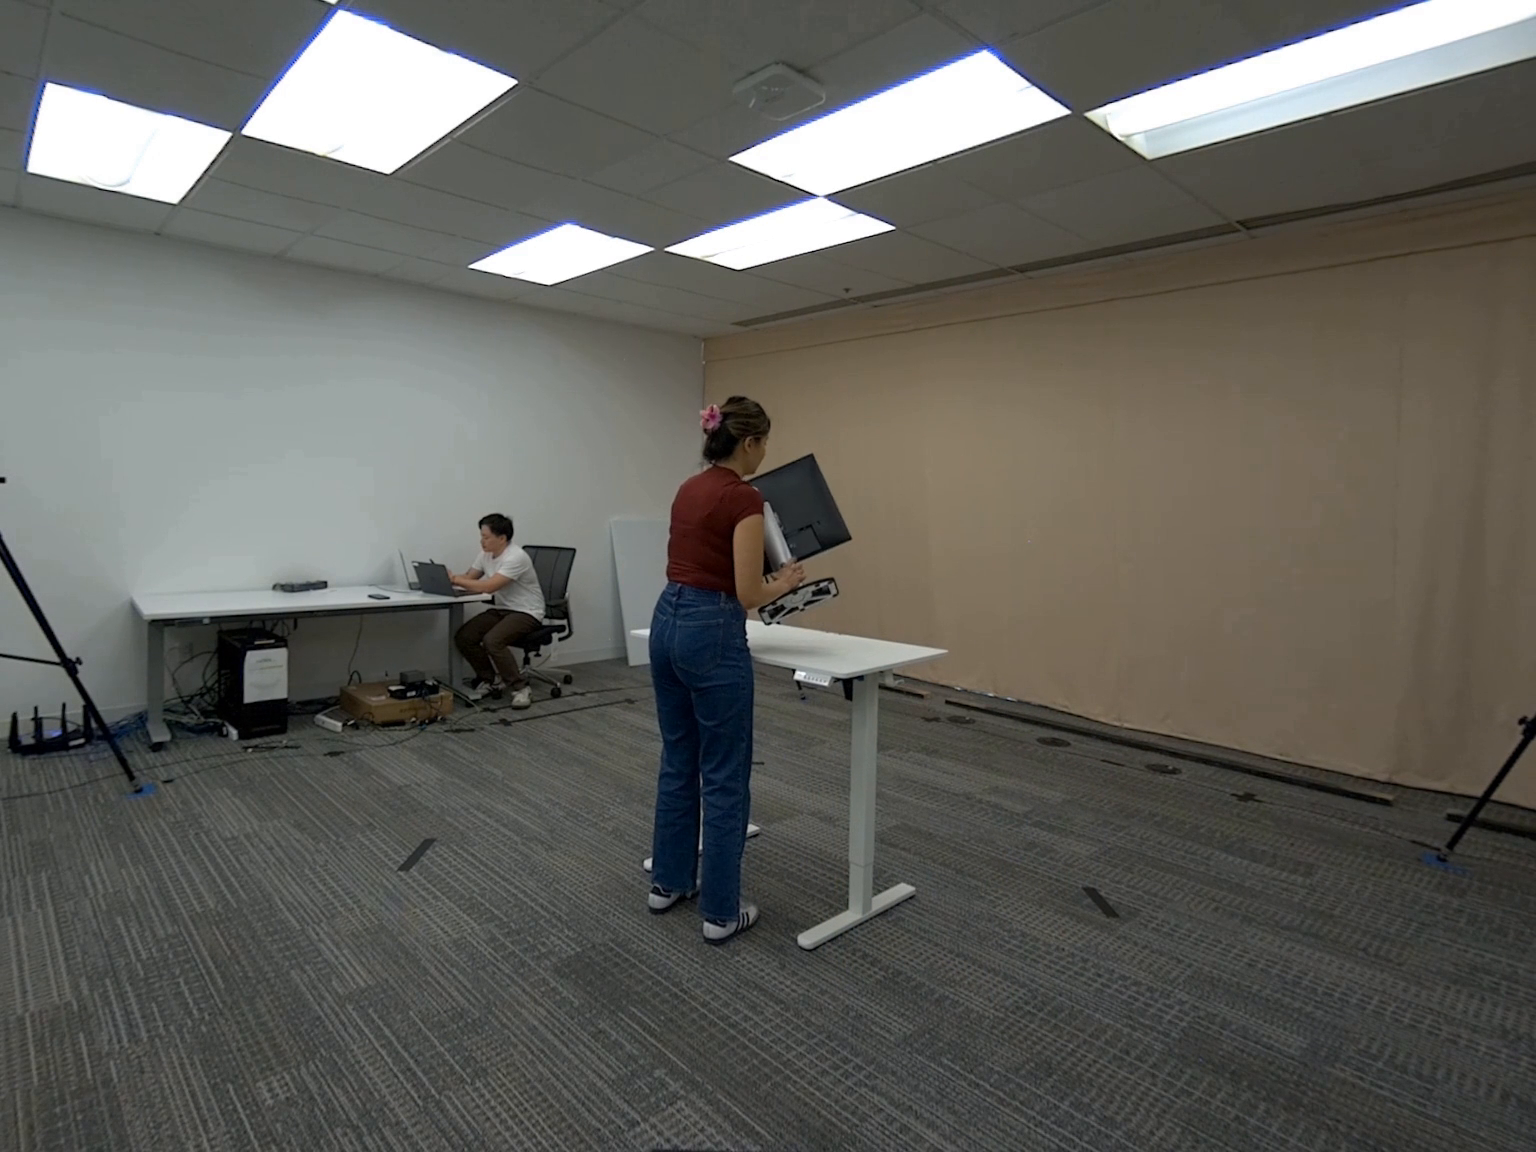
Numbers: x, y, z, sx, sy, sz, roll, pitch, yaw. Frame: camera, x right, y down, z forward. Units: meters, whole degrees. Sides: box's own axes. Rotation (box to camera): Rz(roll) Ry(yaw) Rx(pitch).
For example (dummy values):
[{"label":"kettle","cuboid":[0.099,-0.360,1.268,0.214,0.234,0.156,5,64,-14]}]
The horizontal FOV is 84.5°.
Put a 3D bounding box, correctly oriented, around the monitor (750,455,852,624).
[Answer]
[{"label":"monitor","cuboid":[0.003,-0.124,2.965,0.538,0.535,0.183,-22,-26,-2]}]
